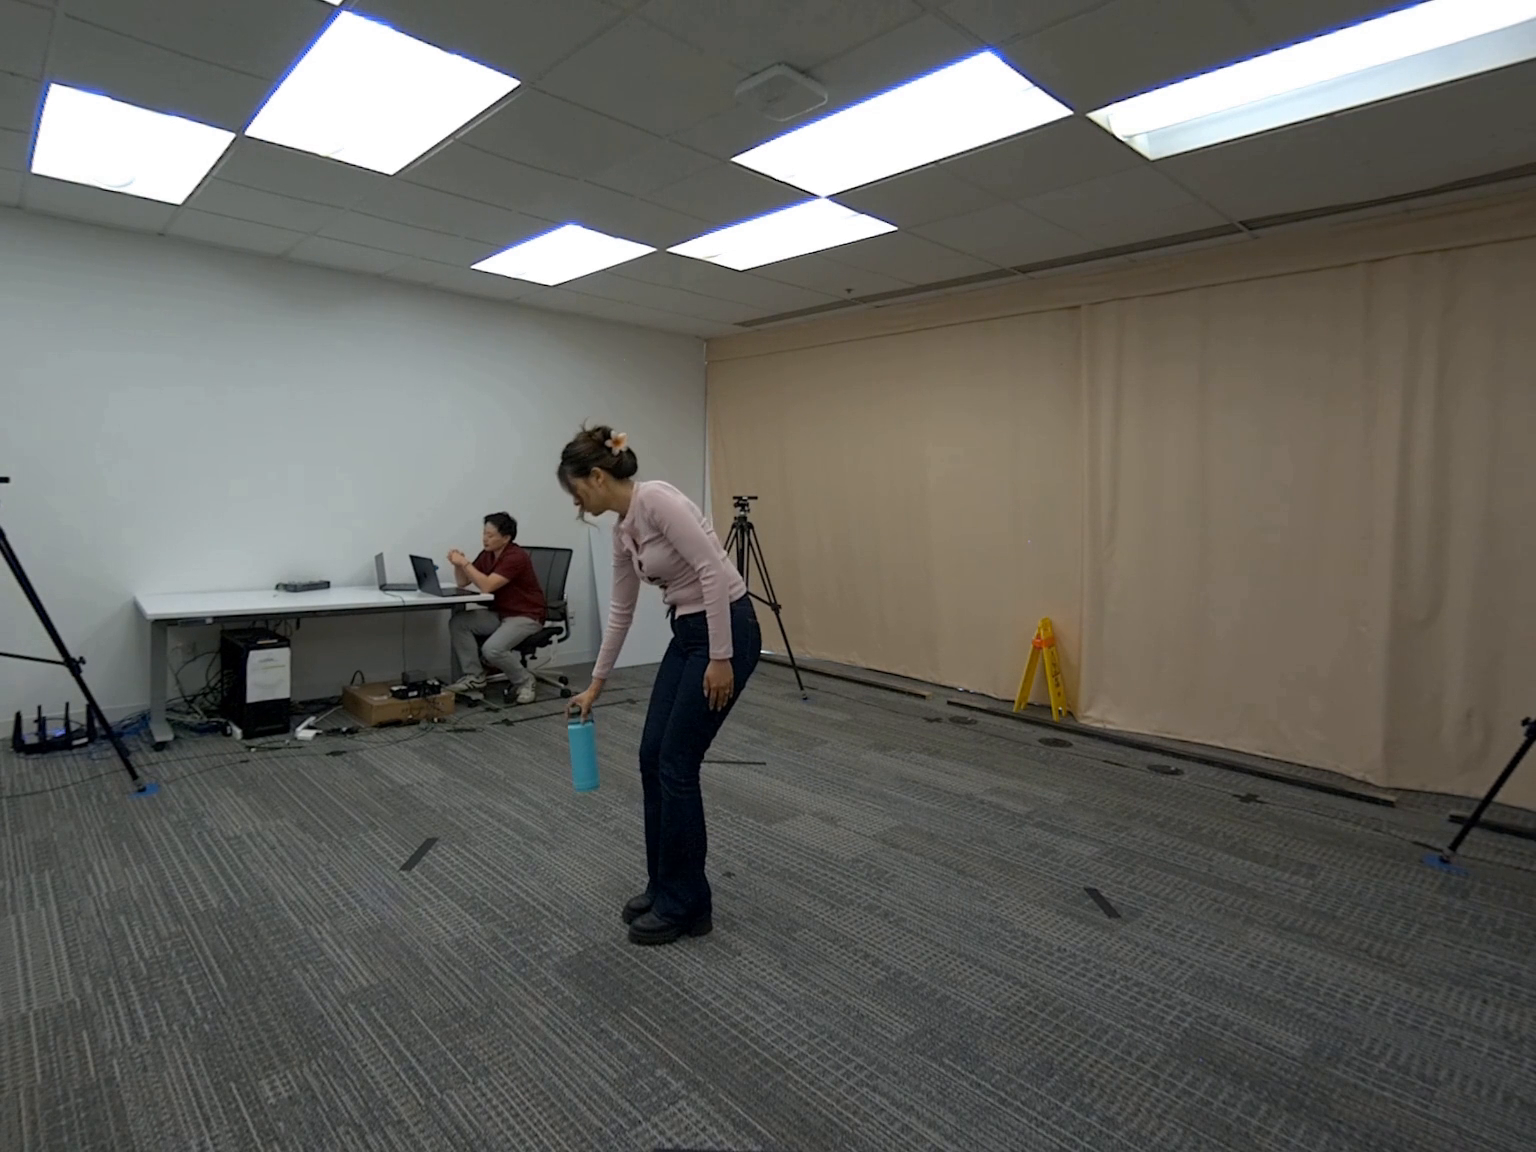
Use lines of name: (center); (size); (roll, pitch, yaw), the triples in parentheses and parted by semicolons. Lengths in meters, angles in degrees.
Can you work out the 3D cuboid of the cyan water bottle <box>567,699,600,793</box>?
cyan water bottle: (-0.643, 0.596, 2.884); (0.092, 0.285, 0.092); (-6, -6, -2)
